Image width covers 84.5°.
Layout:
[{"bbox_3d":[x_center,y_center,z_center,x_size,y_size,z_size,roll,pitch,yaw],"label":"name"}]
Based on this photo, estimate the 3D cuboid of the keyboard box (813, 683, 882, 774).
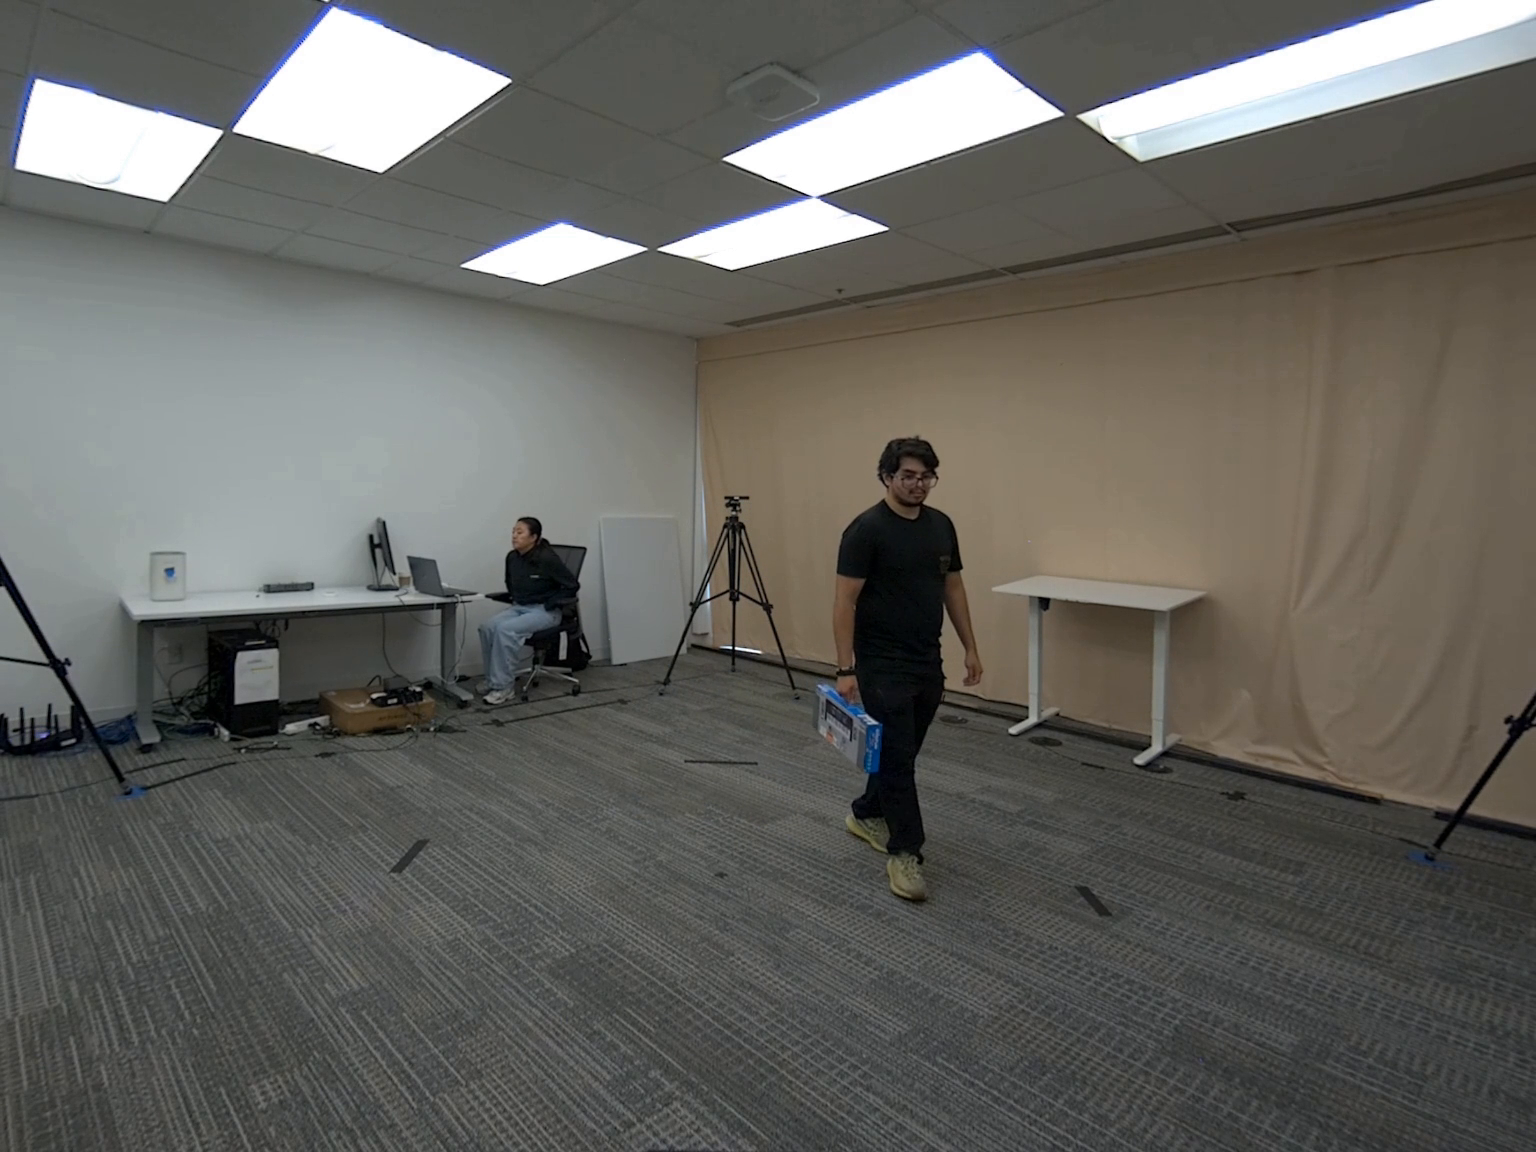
[{"bbox_3d":[0.276,0.549,3.068,0.058,0.175,0.446,-1,11,-21],"label":"keyboard box"}]
